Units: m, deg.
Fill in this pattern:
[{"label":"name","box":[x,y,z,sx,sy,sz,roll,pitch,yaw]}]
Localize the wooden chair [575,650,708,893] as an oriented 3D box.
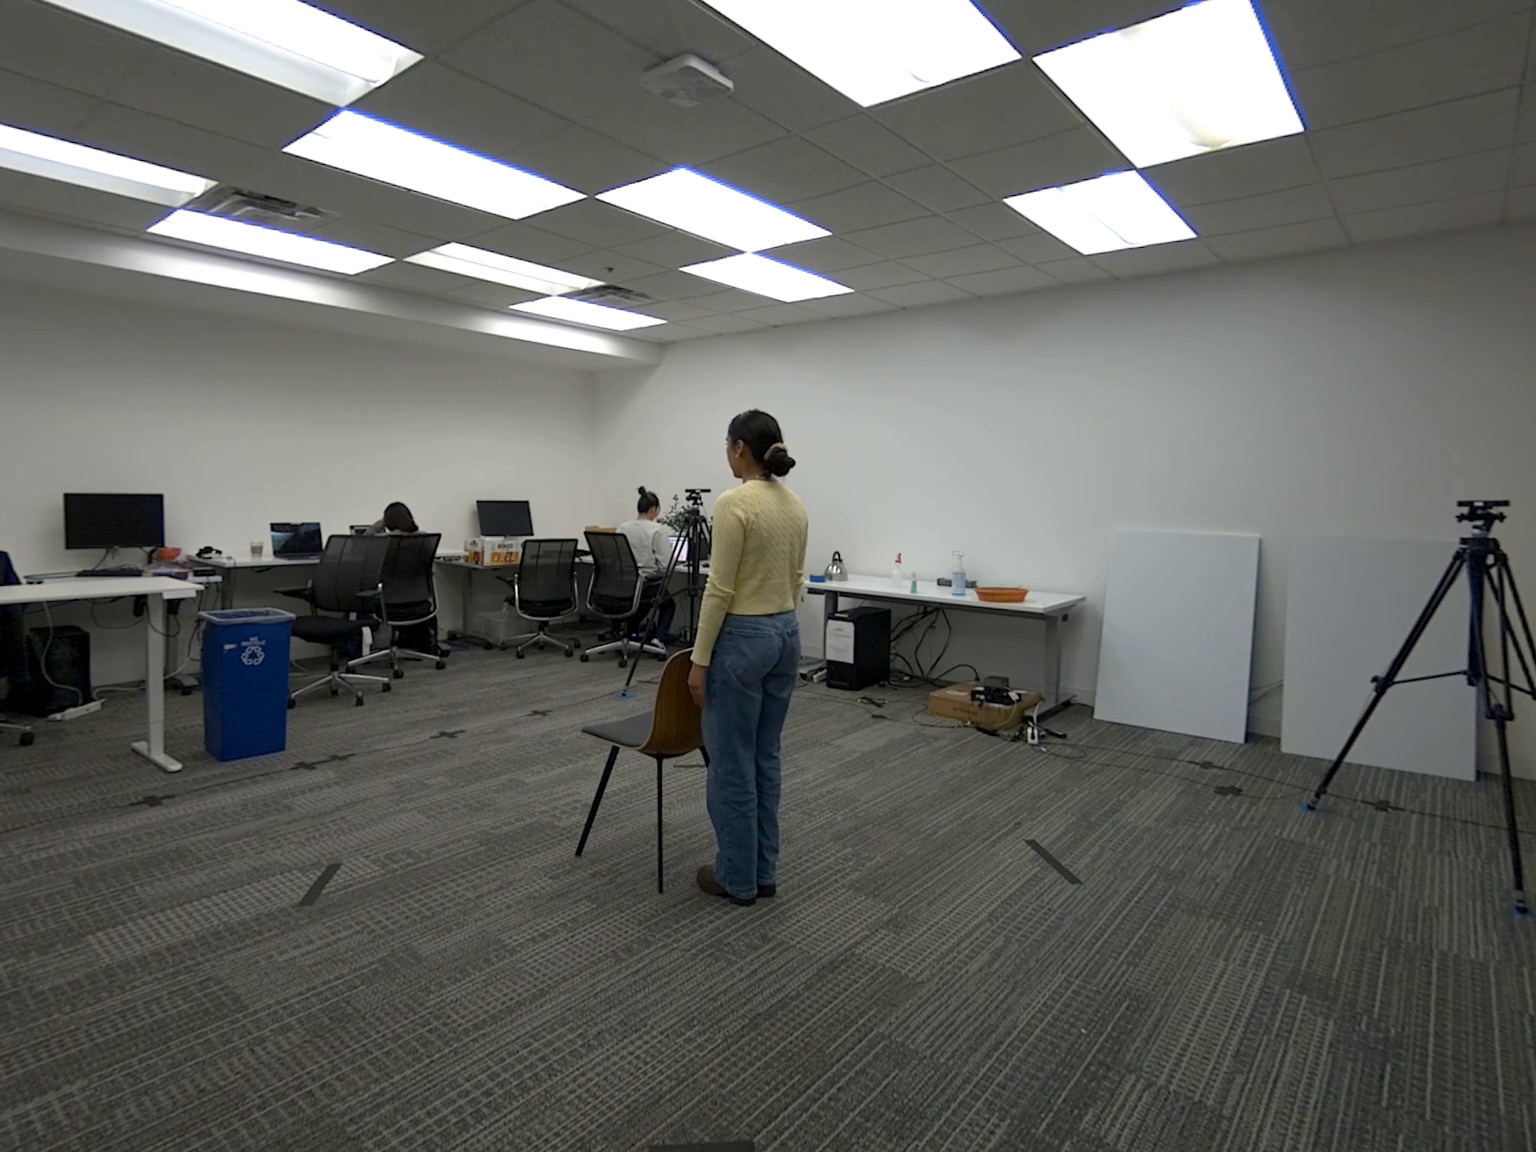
[{"label":"wooden chair","box":[-0.422,0.633,3.211,0.542,0.873,0.464,9,8,39]}]
